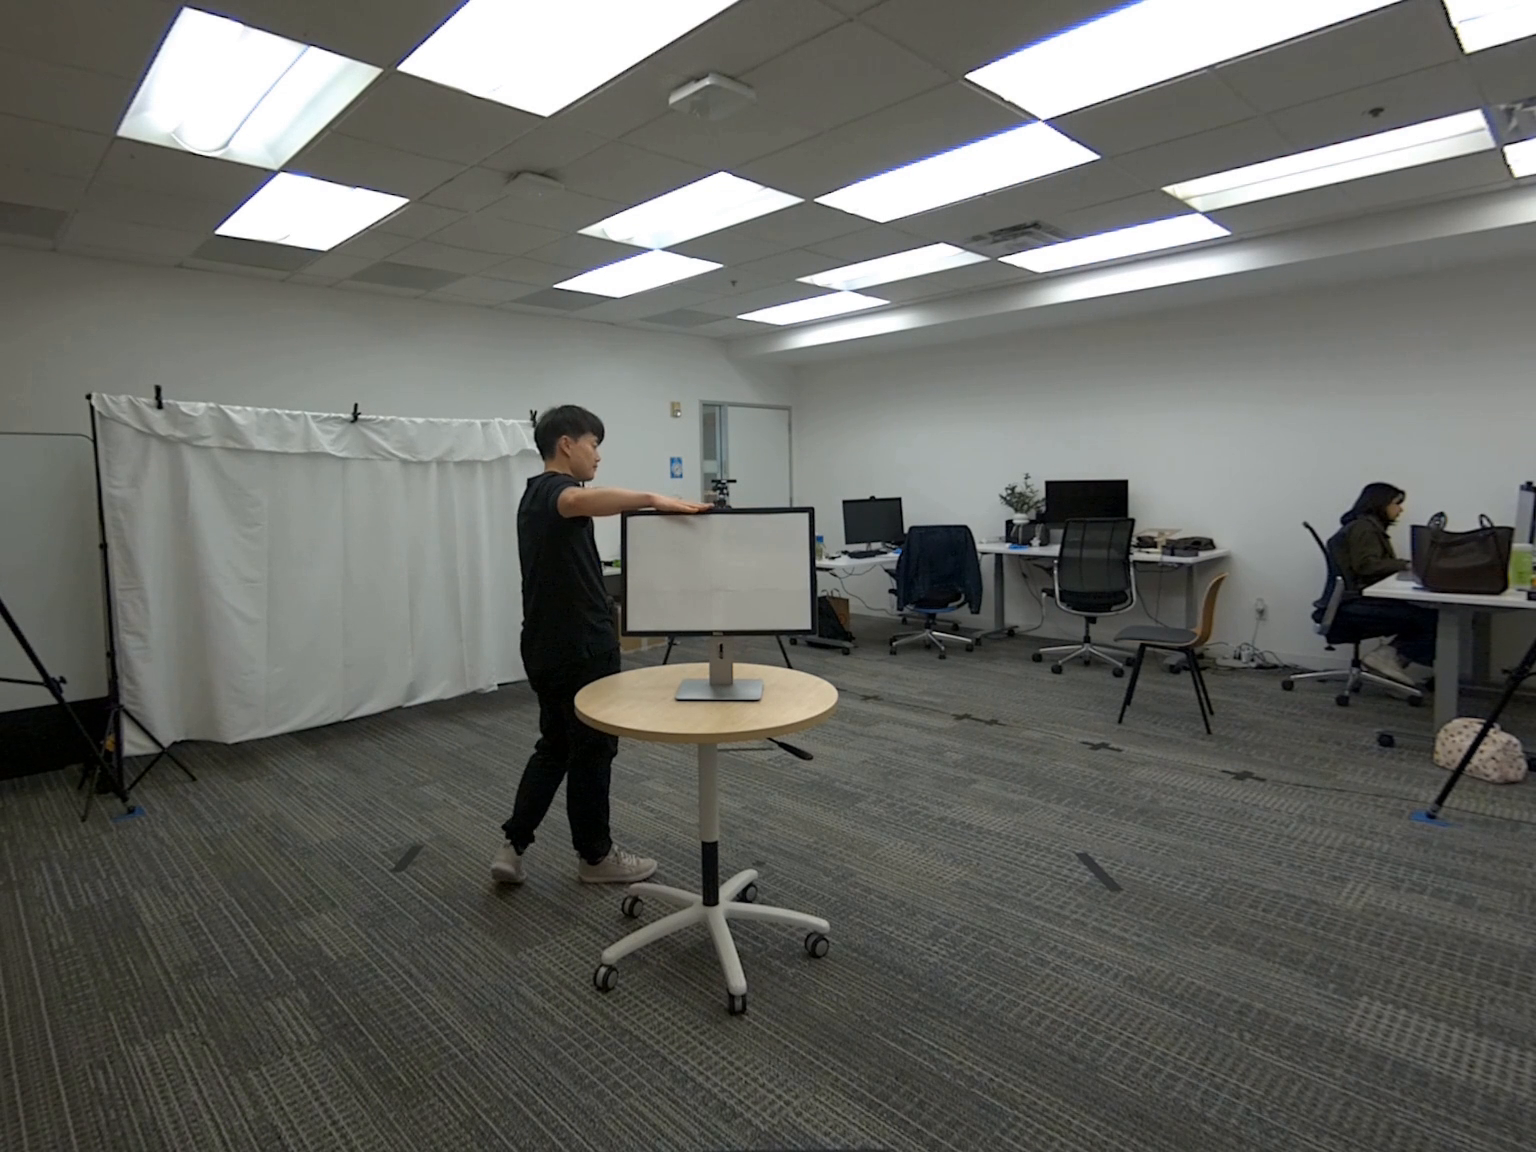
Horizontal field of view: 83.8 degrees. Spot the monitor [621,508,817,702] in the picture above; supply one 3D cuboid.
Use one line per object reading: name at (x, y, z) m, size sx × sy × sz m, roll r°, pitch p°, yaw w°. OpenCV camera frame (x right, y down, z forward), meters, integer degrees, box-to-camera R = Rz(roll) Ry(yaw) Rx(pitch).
monitor at (-0.138, 0.081, 2.487) m, size 0.541 × 0.520 × 0.187 m, roll -1°, pitch 6°, yaw 3°
